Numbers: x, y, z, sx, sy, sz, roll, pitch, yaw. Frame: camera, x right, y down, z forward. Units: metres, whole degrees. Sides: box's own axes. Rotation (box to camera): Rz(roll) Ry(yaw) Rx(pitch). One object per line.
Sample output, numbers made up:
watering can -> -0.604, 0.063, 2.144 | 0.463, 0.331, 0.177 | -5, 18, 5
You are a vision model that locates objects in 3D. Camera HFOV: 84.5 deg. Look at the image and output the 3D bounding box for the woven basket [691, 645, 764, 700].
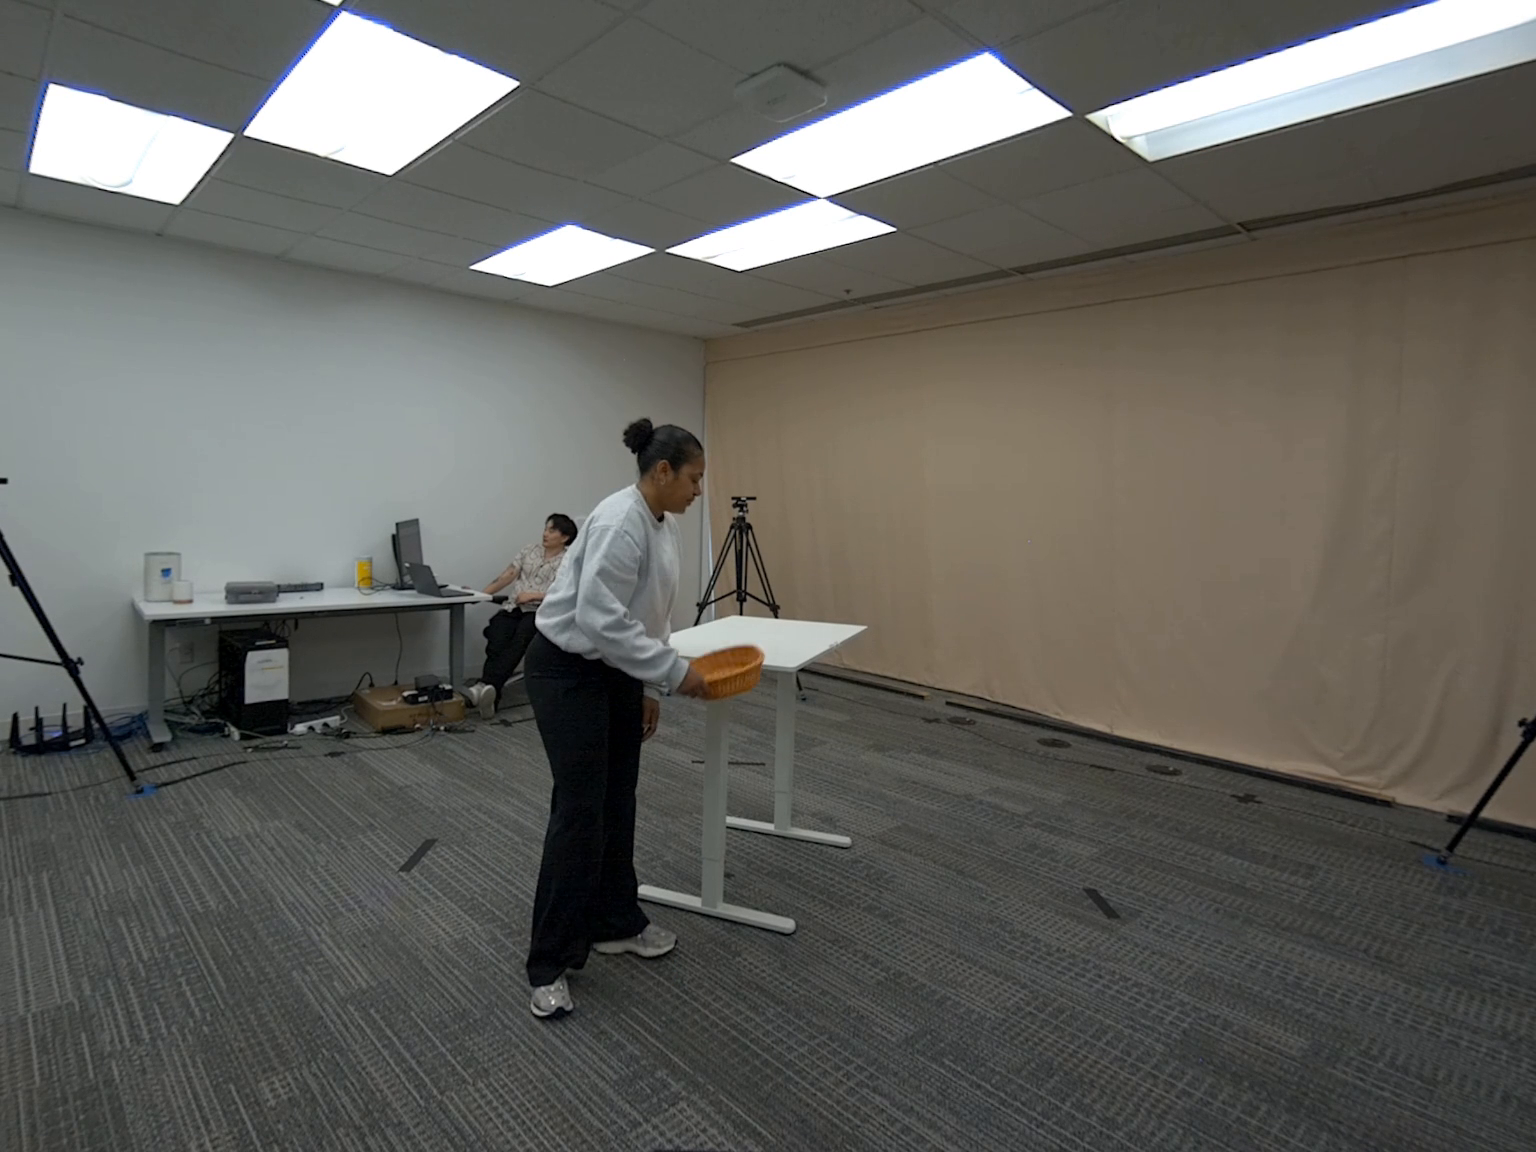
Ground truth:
woven basket -> -0.160, 0.305, 2.373 | 0.252, 0.073, 0.353 | -14, 7, -4
